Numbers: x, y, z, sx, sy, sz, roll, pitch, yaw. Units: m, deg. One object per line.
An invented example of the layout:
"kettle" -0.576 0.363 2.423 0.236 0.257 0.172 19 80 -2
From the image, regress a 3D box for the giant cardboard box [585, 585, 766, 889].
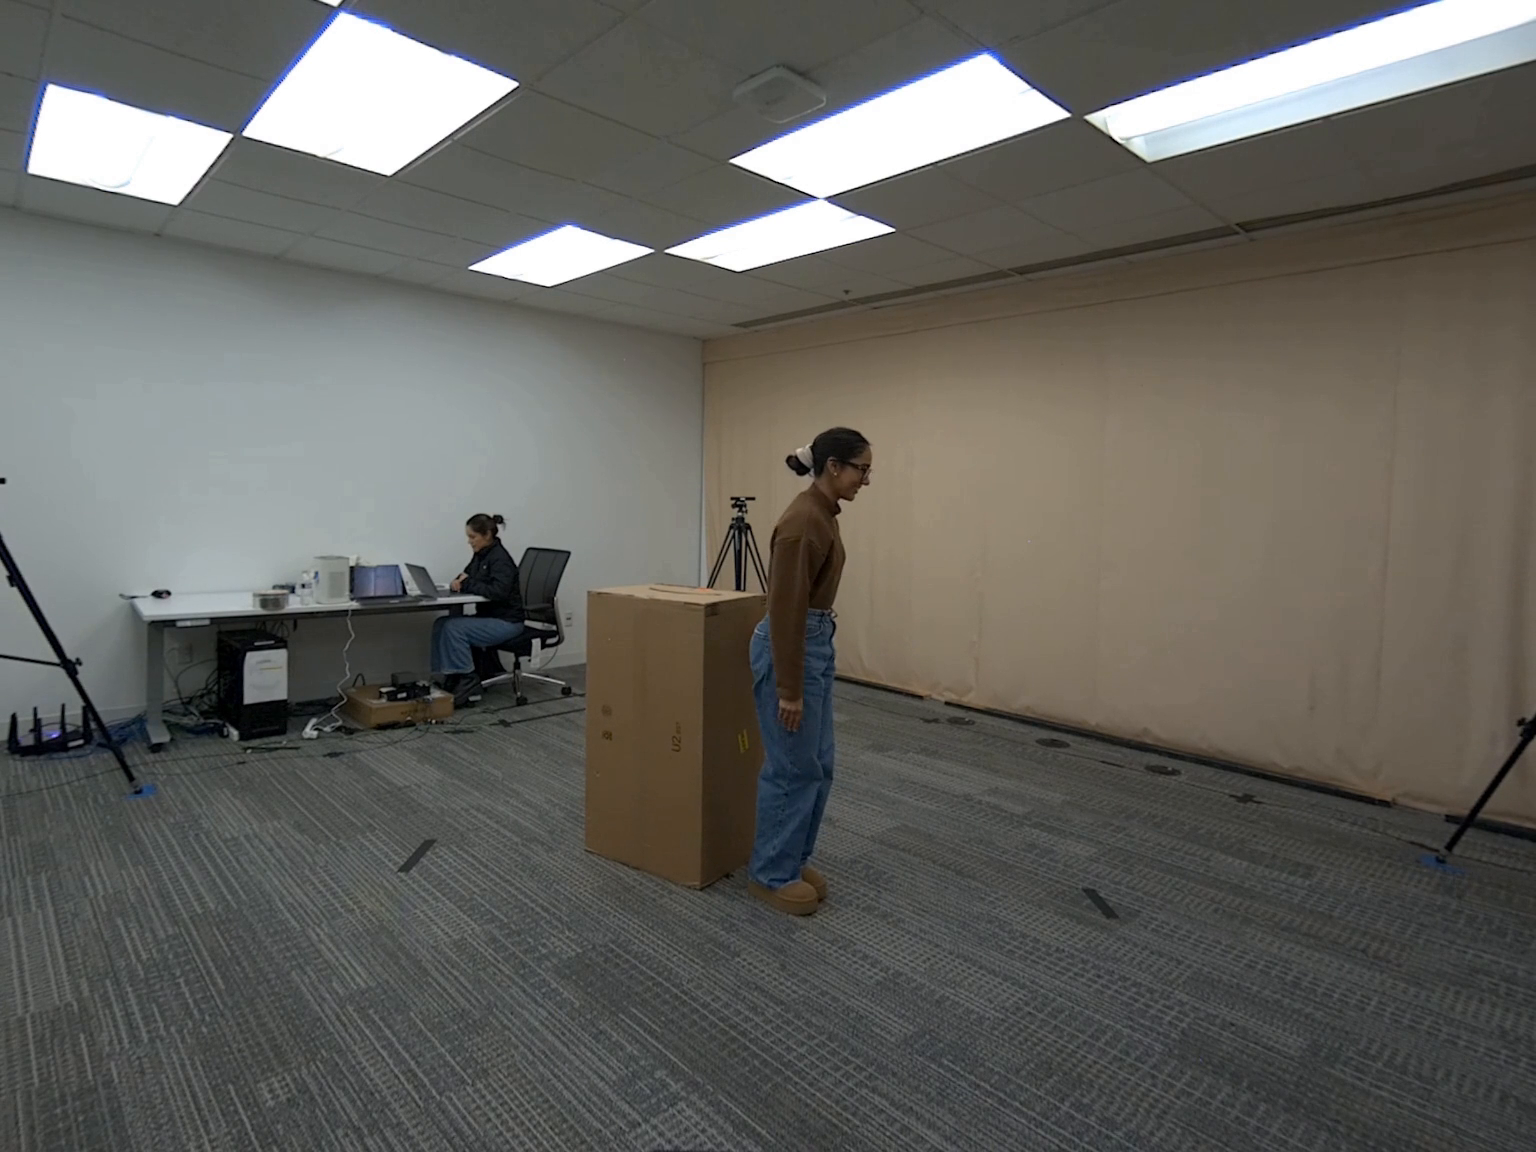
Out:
"giant cardboard box" -0.364 0.579 3.295 0.597 1.024 0.438 3 4 33
